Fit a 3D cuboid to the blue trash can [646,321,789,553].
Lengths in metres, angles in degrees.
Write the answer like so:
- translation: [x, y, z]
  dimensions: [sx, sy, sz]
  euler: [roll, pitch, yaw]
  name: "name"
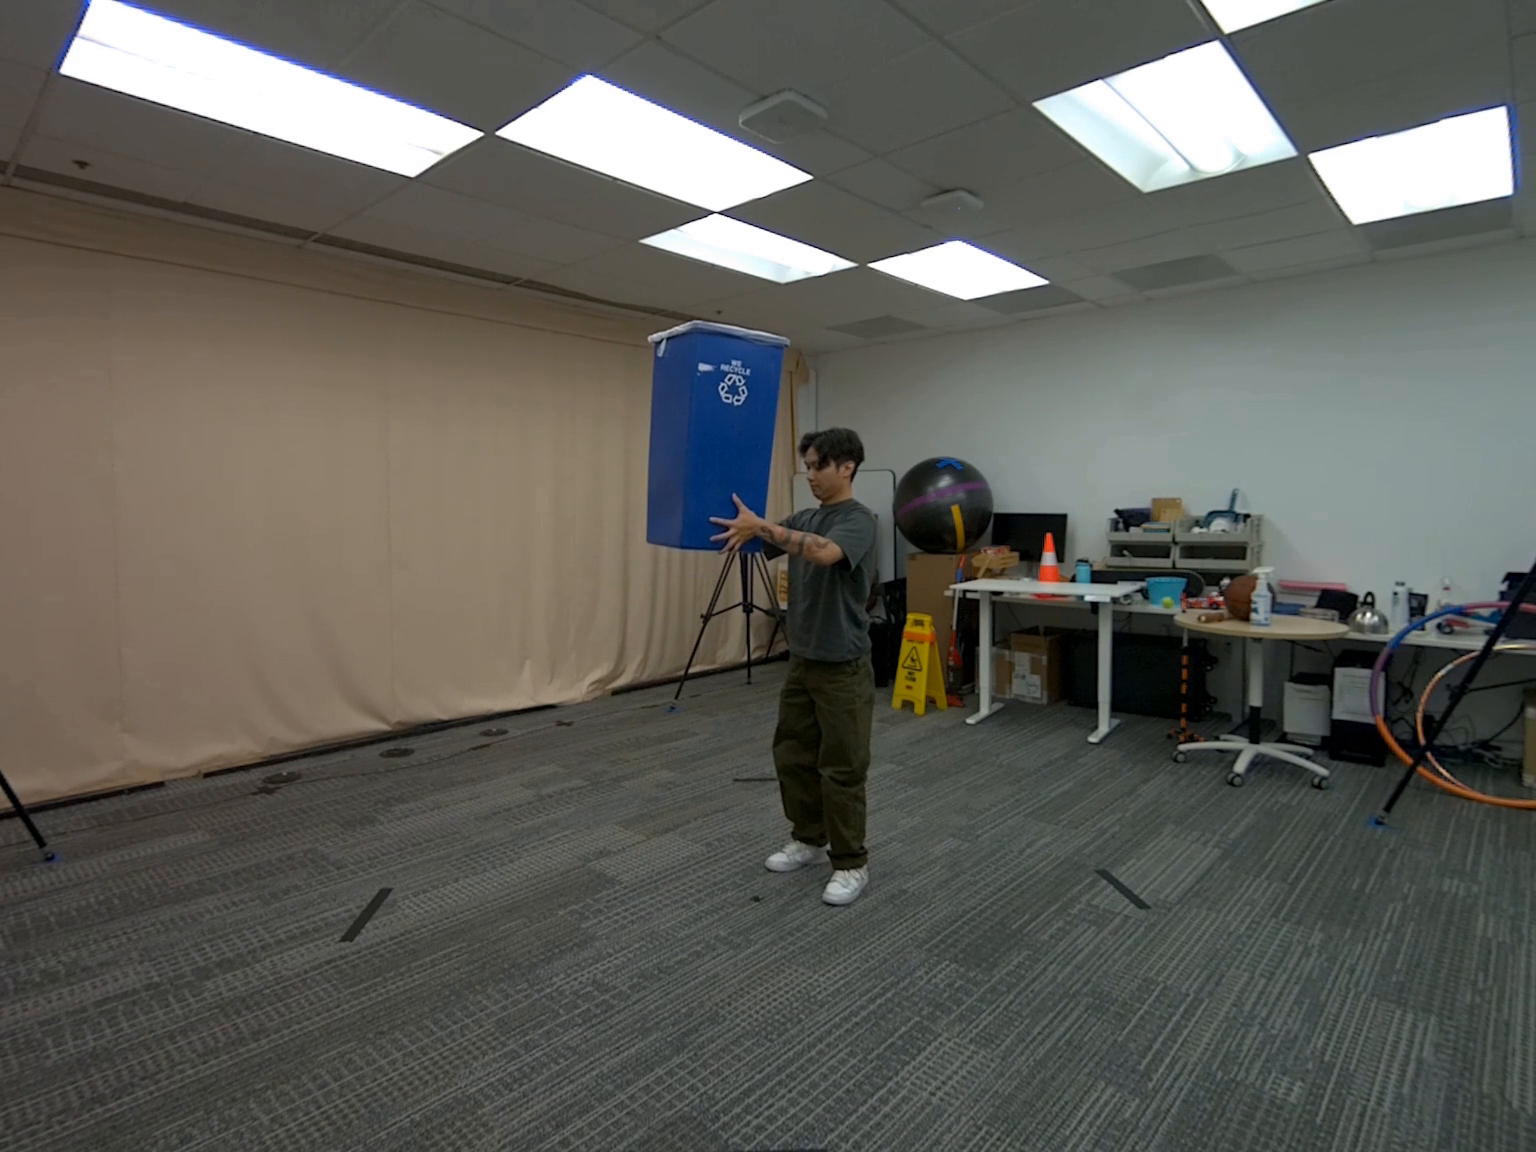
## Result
- translation: [-0.189, -0.456, 2.853]
  dimensions: [0.367, 0.712, 0.386]
  euler: [3, 3, -32]
  name: "blue trash can"
